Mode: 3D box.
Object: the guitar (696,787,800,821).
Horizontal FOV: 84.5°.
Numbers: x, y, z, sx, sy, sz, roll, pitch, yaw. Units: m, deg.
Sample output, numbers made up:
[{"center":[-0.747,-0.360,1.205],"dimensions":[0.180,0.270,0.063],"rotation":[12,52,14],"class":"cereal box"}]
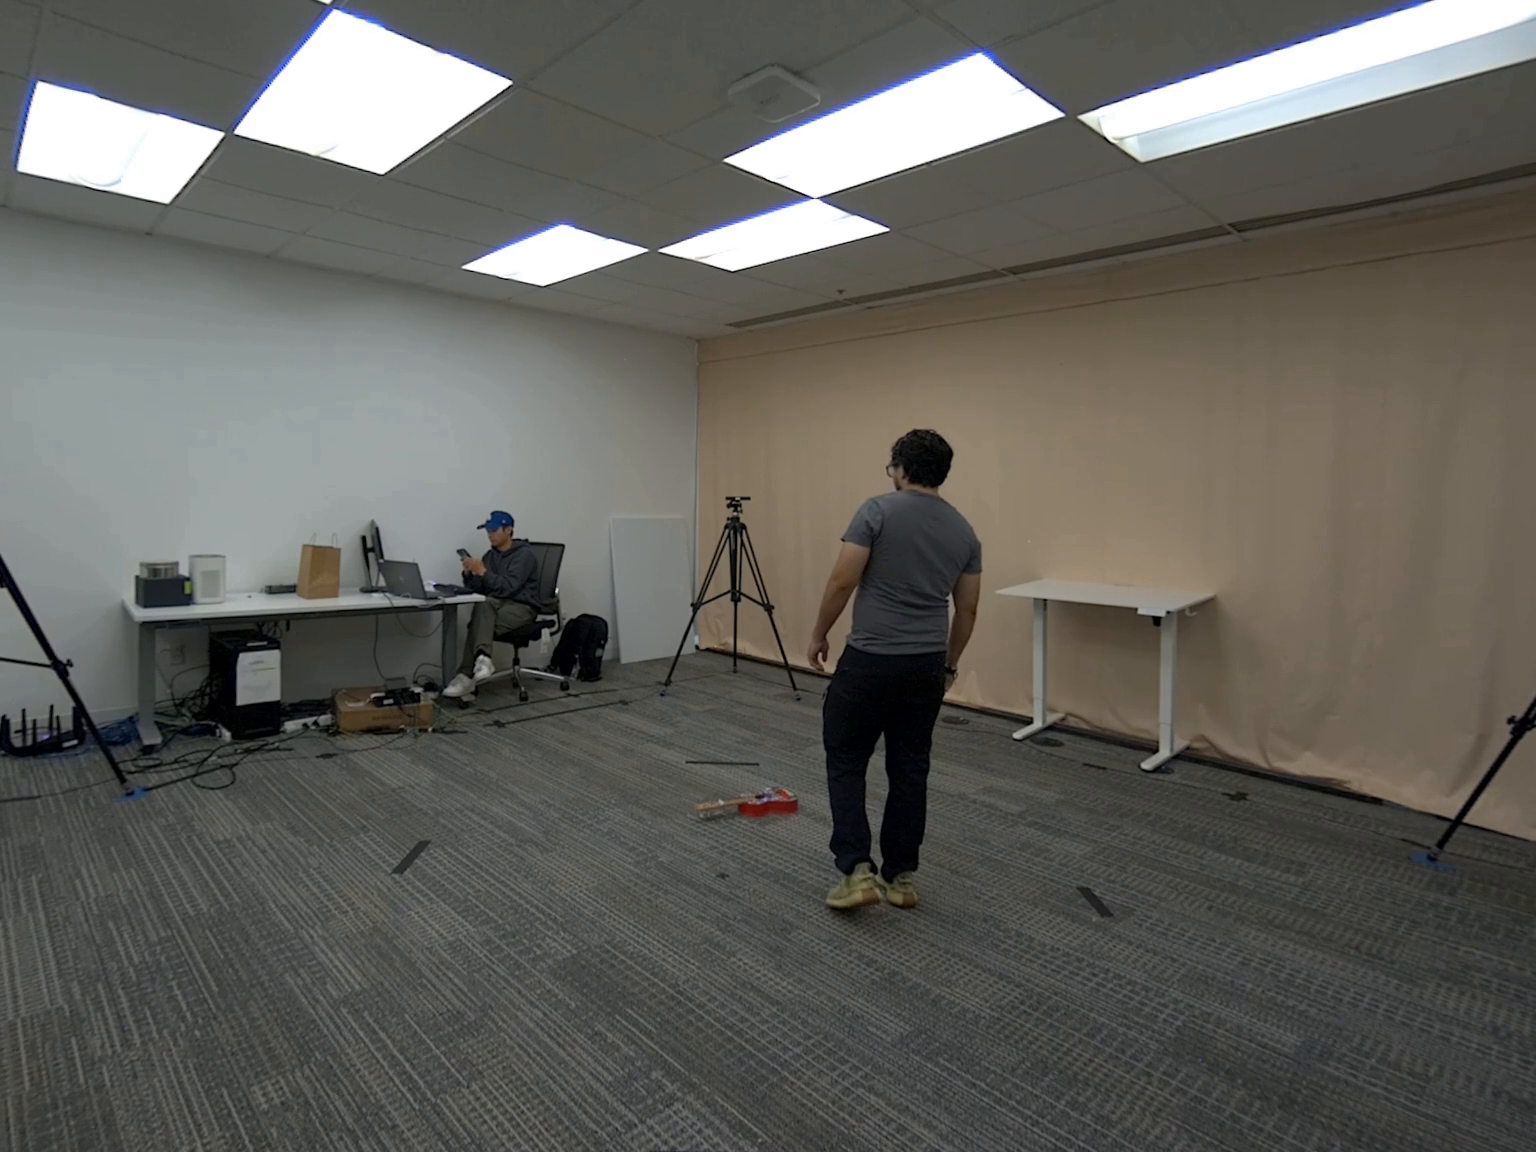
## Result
[{"center":[-0.122,1.015,3.769],"dimensions":[0.490,0.070,0.197],"rotation":[0,6,-22],"class":"guitar"}]
